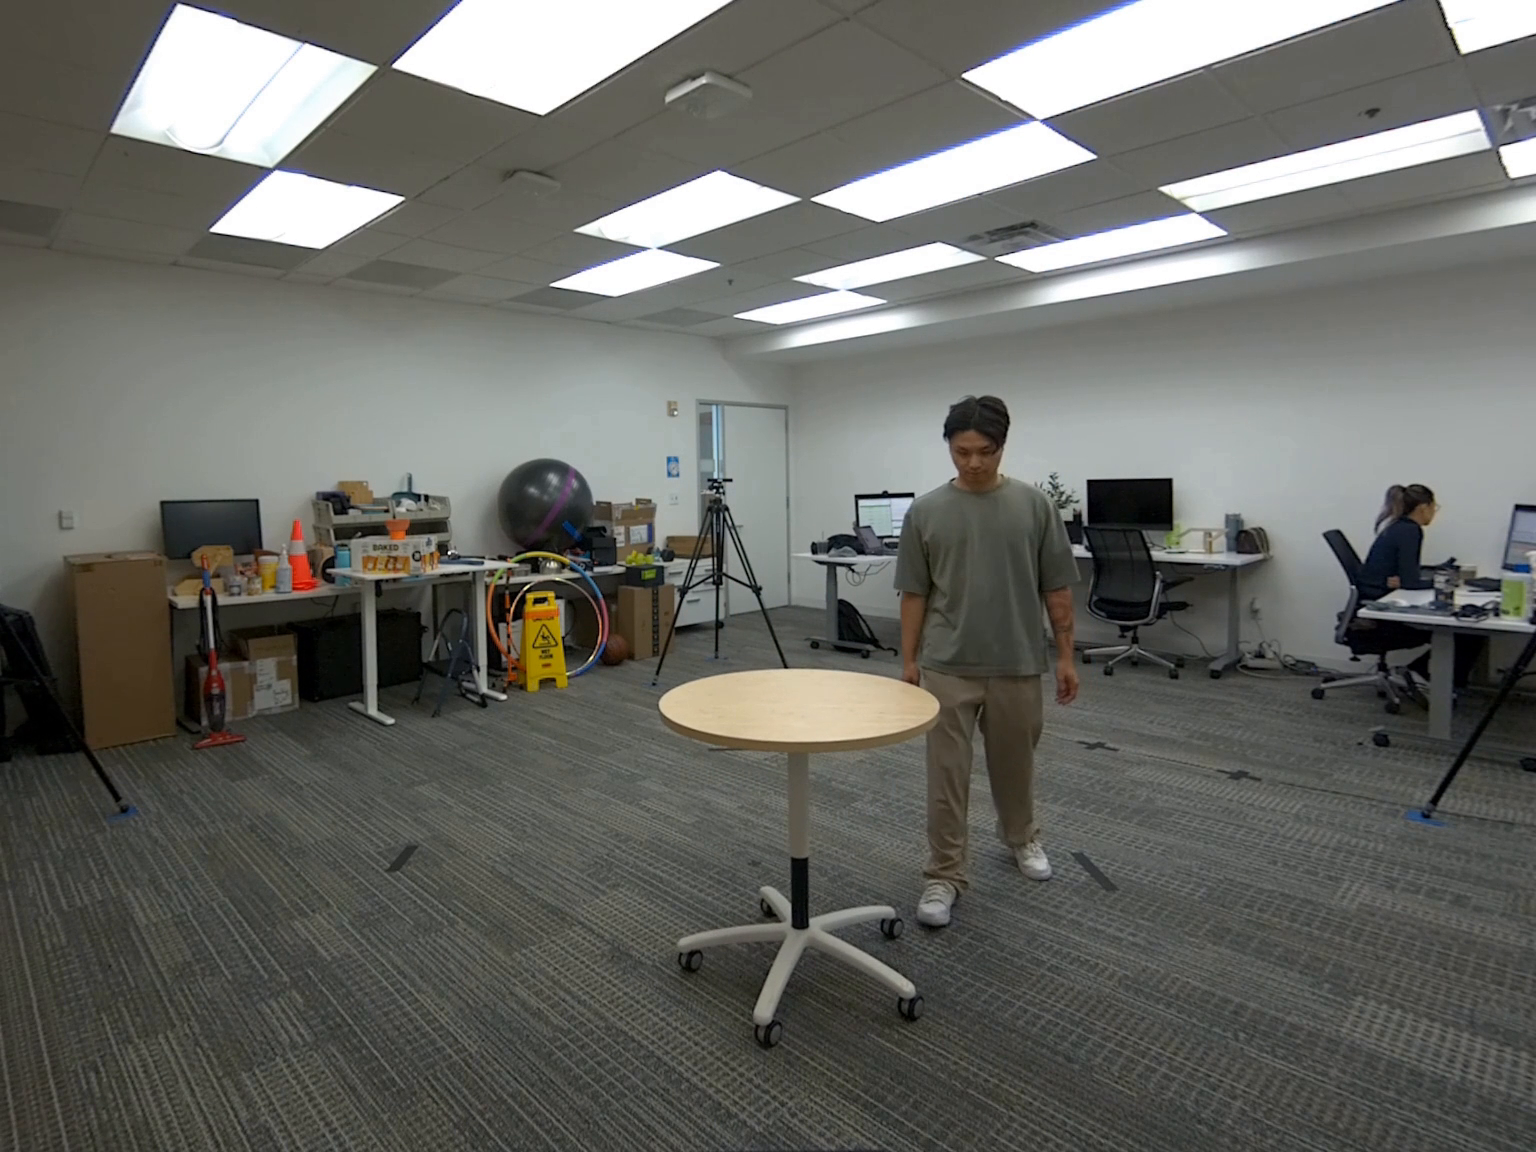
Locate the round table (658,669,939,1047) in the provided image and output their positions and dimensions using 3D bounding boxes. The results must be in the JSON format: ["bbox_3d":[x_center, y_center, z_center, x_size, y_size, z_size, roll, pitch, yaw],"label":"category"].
[{"bbox_3d":[0.093,0.729,2.411,0.784,0.783,0.789,-1,5,-2],"label":"round table"}]
